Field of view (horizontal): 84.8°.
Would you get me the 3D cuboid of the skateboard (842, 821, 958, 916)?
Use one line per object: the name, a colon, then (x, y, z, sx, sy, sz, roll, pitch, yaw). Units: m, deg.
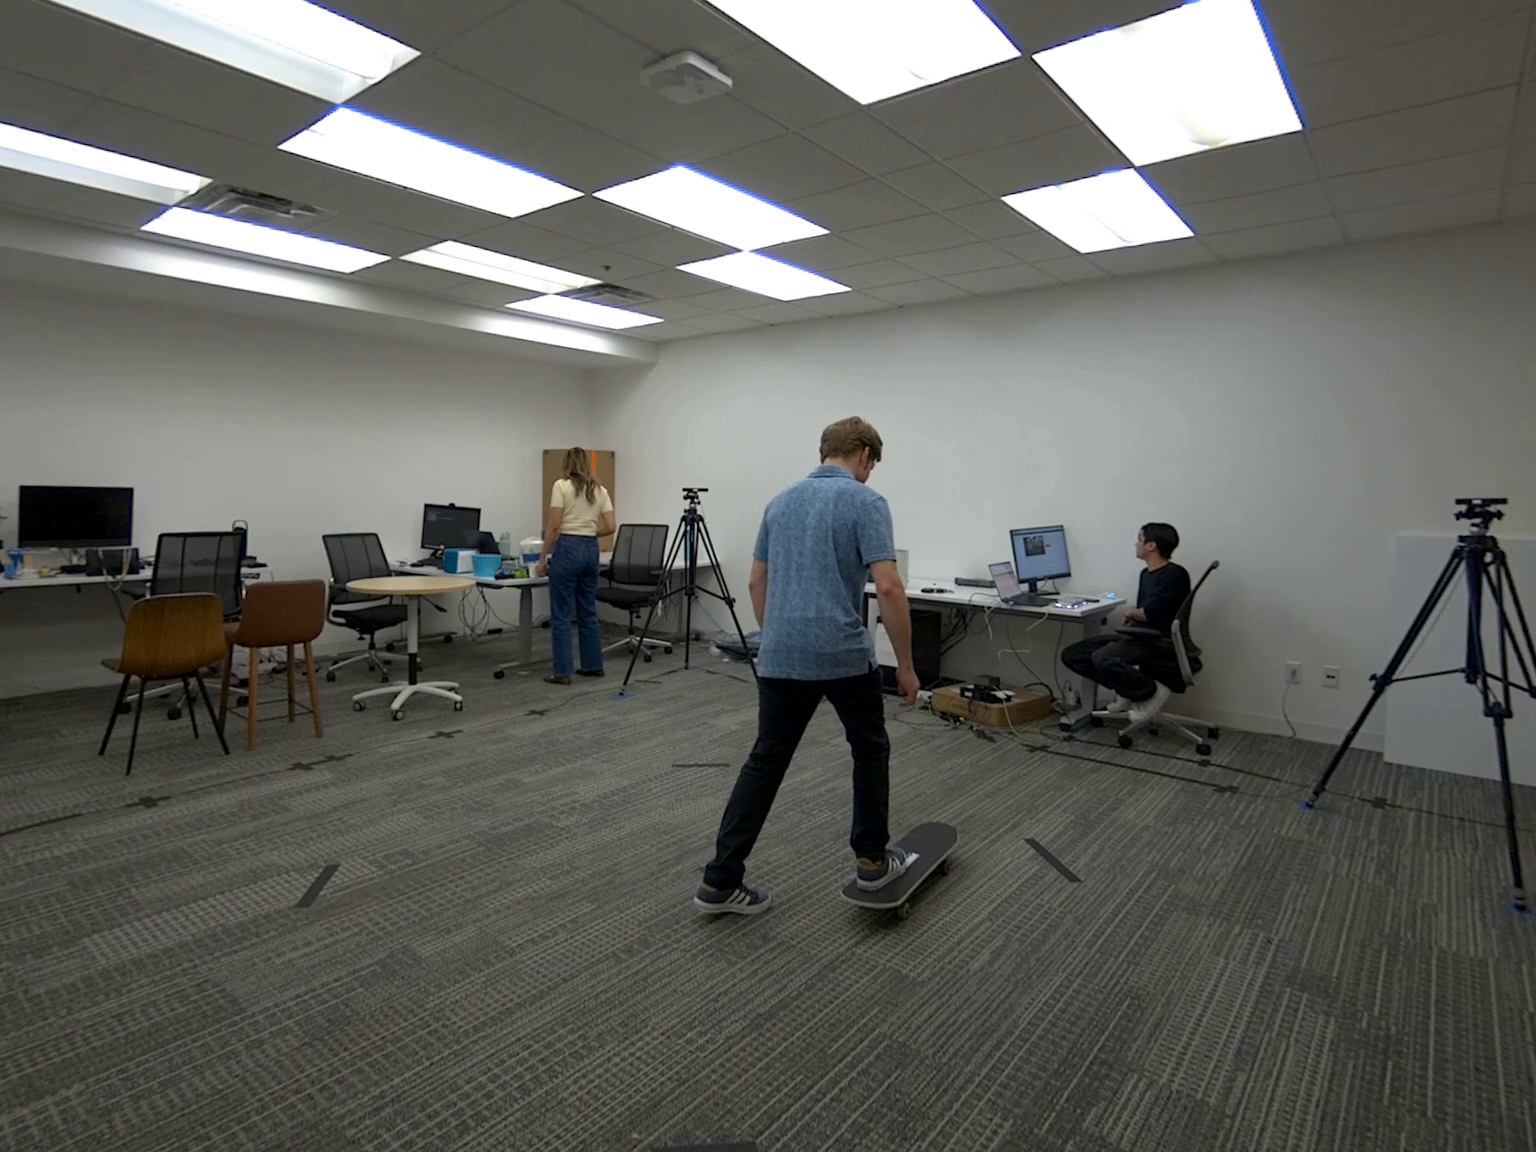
skateboard: (0.467, 1.035, 2.999, 0.199, 0.110, 0.765, 2, 6, 31)
